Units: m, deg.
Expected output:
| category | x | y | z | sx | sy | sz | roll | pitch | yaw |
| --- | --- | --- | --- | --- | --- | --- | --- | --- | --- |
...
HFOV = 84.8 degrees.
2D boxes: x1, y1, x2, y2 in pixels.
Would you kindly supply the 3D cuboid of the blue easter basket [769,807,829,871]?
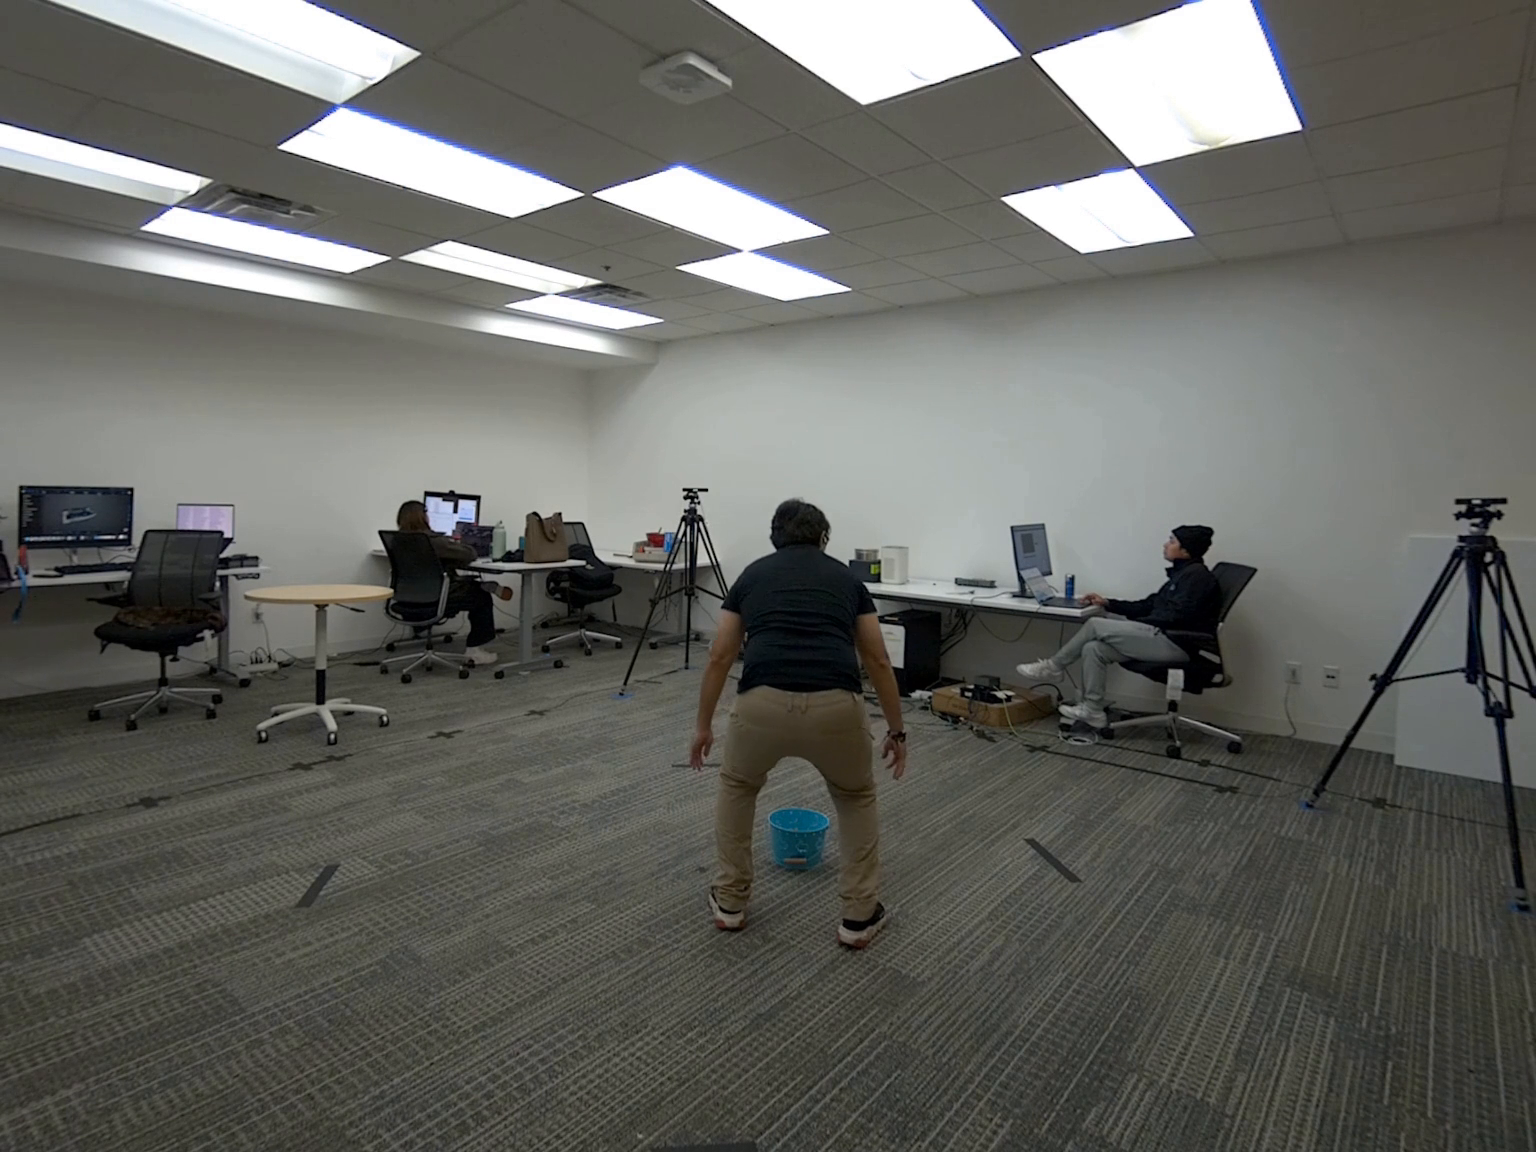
| category | x | y | z | sx | sy | sz | roll | pitch | yaw |
| --- | --- | --- | --- | --- | --- | --- | --- | --- | --- |
| blue easter basket | 0.105 | 0.991 | 3.210 | 0.243 | 0.155 | 0.245 | 1 | 5 | -2 |
